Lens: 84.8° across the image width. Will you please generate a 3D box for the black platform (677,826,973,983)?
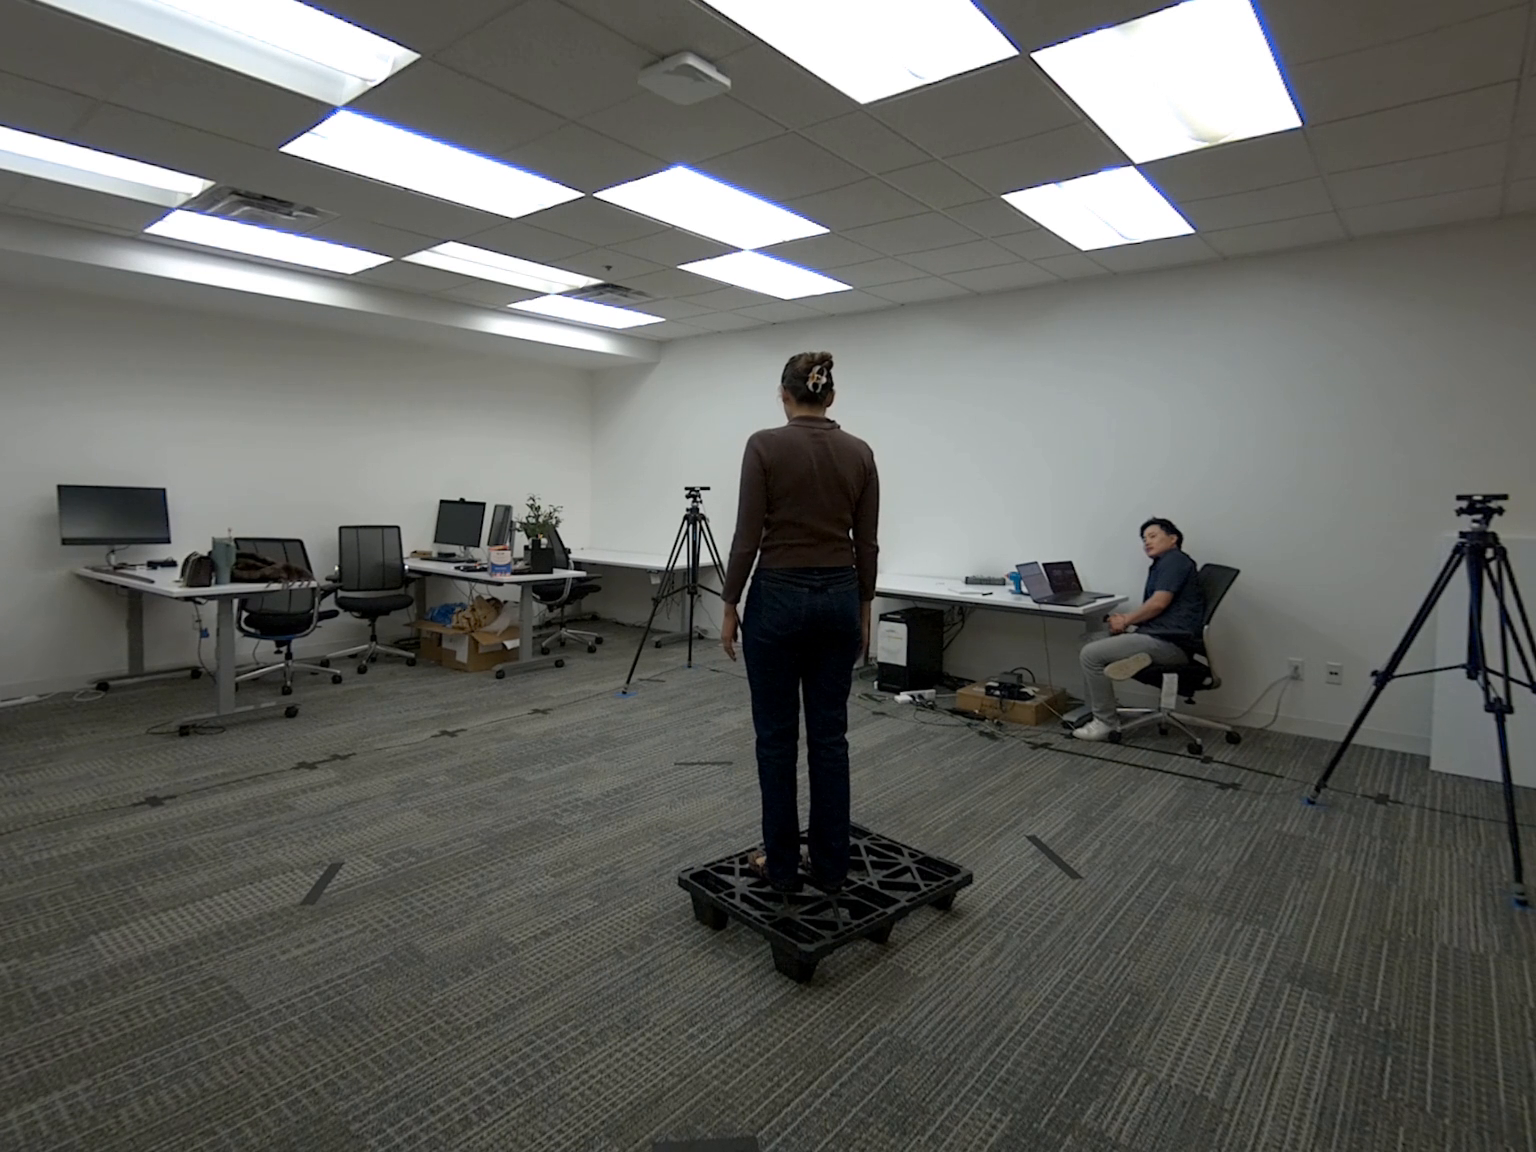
[{"bbox_3d":[0.180,1.036,2.792,0.781,0.143,0.626,-4,7,-42],"label":"black platform"}]
